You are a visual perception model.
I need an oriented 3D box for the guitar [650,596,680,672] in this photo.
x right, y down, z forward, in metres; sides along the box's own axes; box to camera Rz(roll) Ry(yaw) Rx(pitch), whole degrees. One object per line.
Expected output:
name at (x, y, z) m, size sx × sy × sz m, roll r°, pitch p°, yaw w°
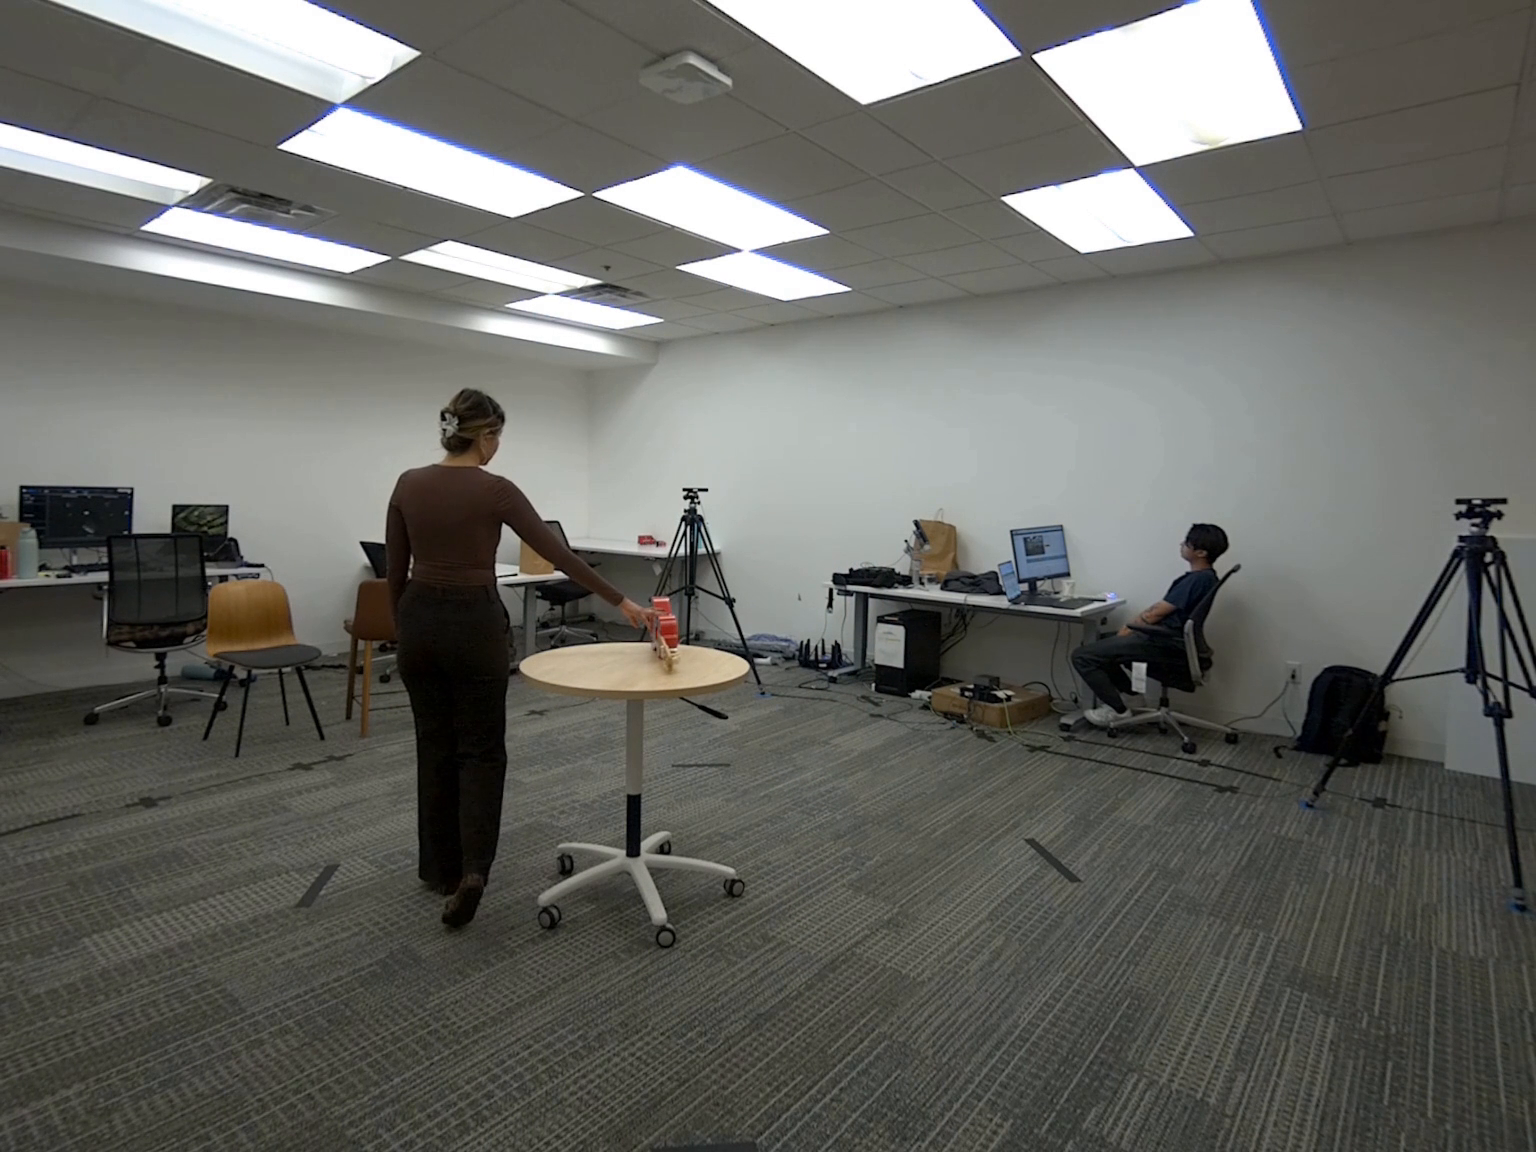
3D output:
guitar at (-0.363, 0.244, 2.944) m, size 0.070 × 0.189 × 0.514 m, roll -2°, pitch 22°, yaw -15°
